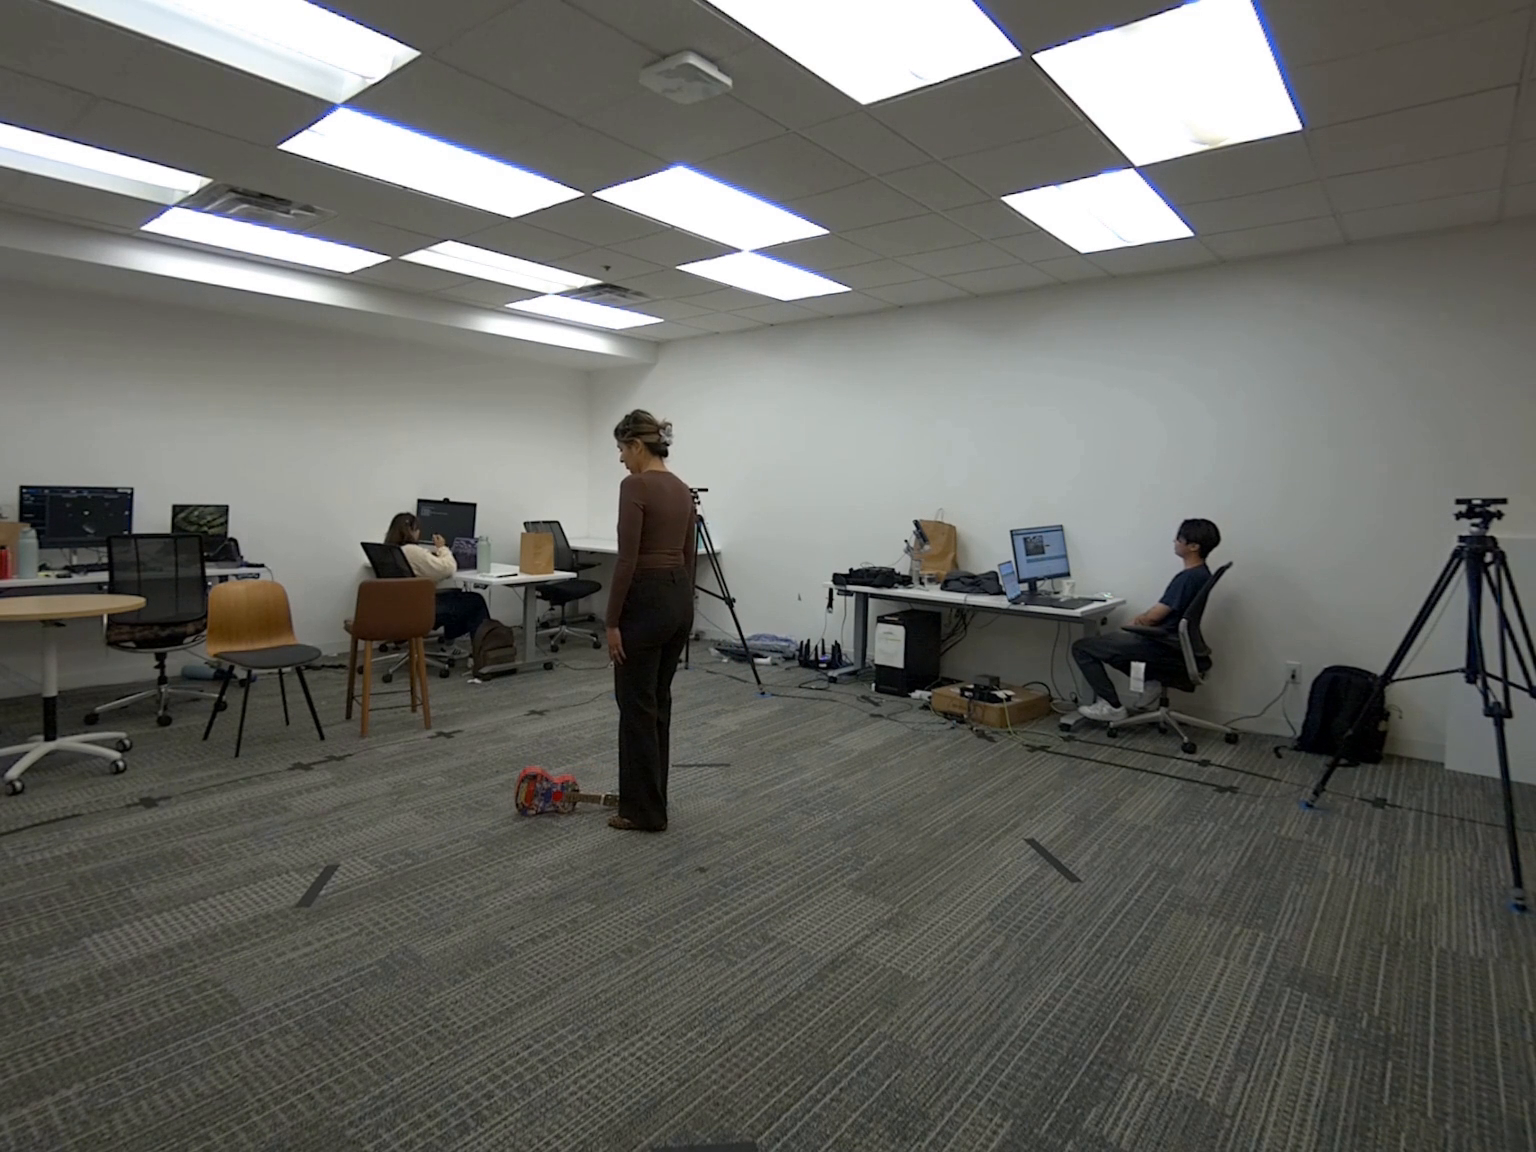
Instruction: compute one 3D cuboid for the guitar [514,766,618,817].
[{"bbox_3d":[-0.861,0.964,3.661,0.488,0.193,0.072,18,0,-15],"label":"guitar"}]
